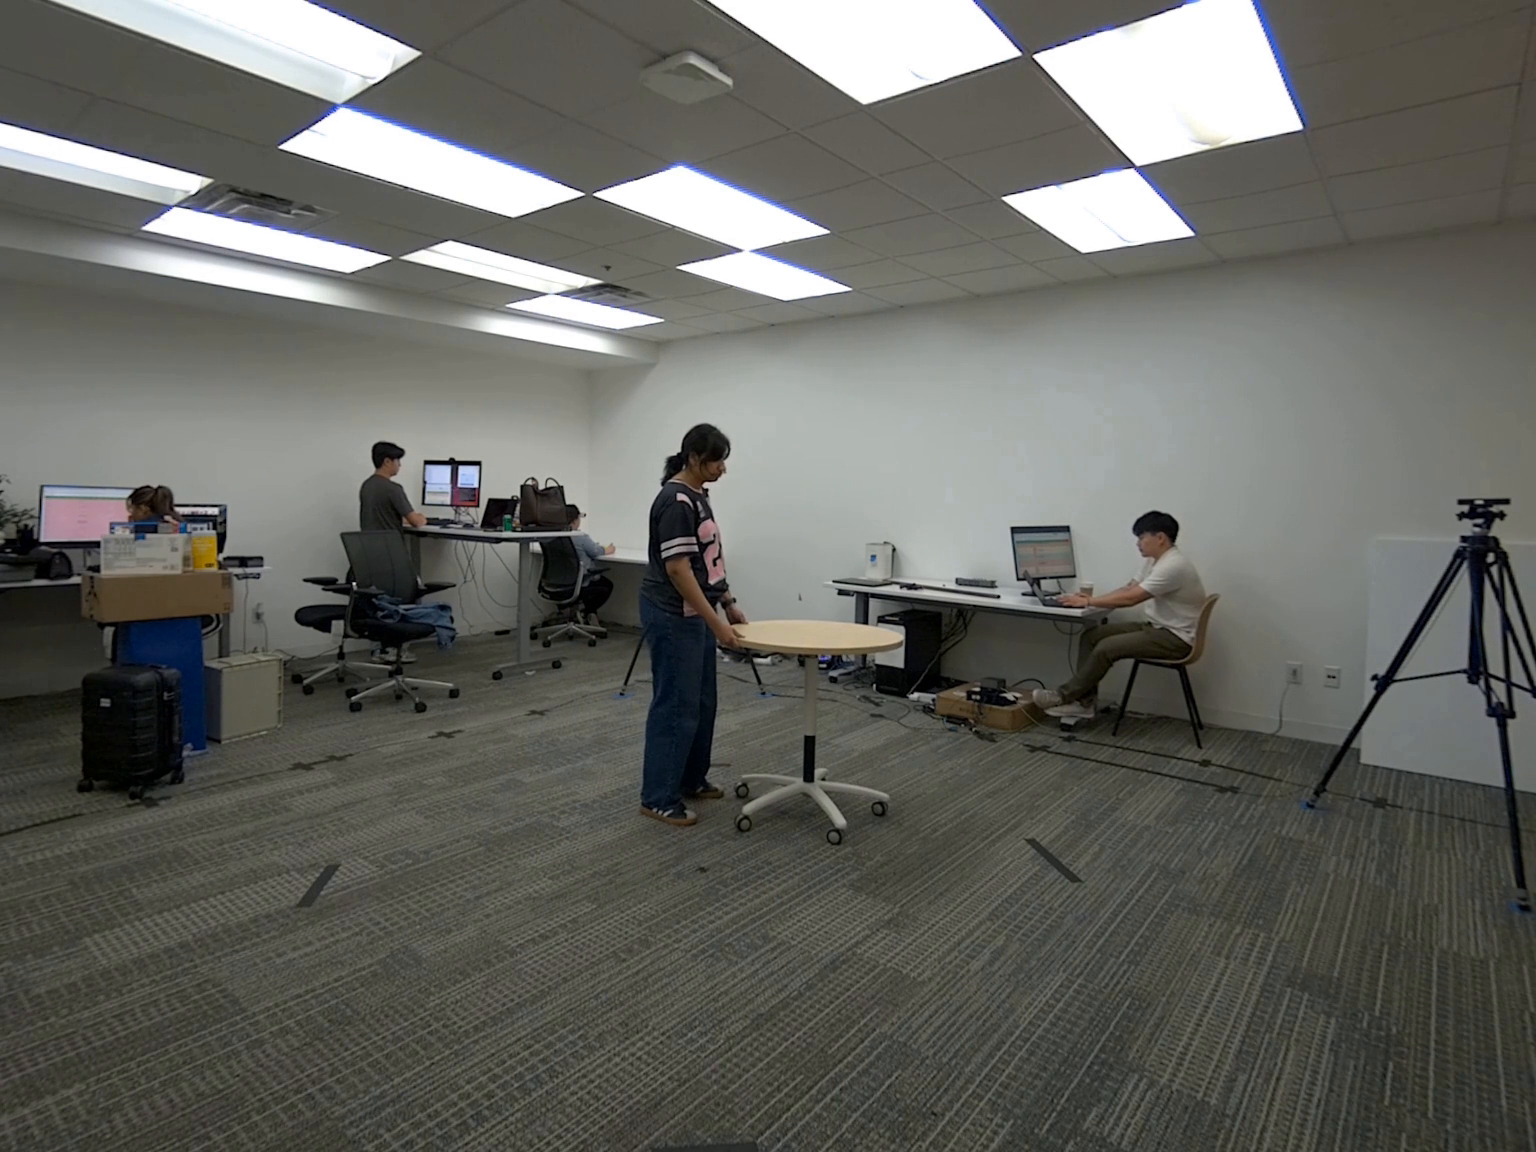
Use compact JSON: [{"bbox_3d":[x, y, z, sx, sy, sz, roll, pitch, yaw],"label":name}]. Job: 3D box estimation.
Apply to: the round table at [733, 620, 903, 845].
[{"bbox_3d":[0.172,0.639,3.654,0.763,0.792,0.767,1,4,-2],"label":"round table"}]
